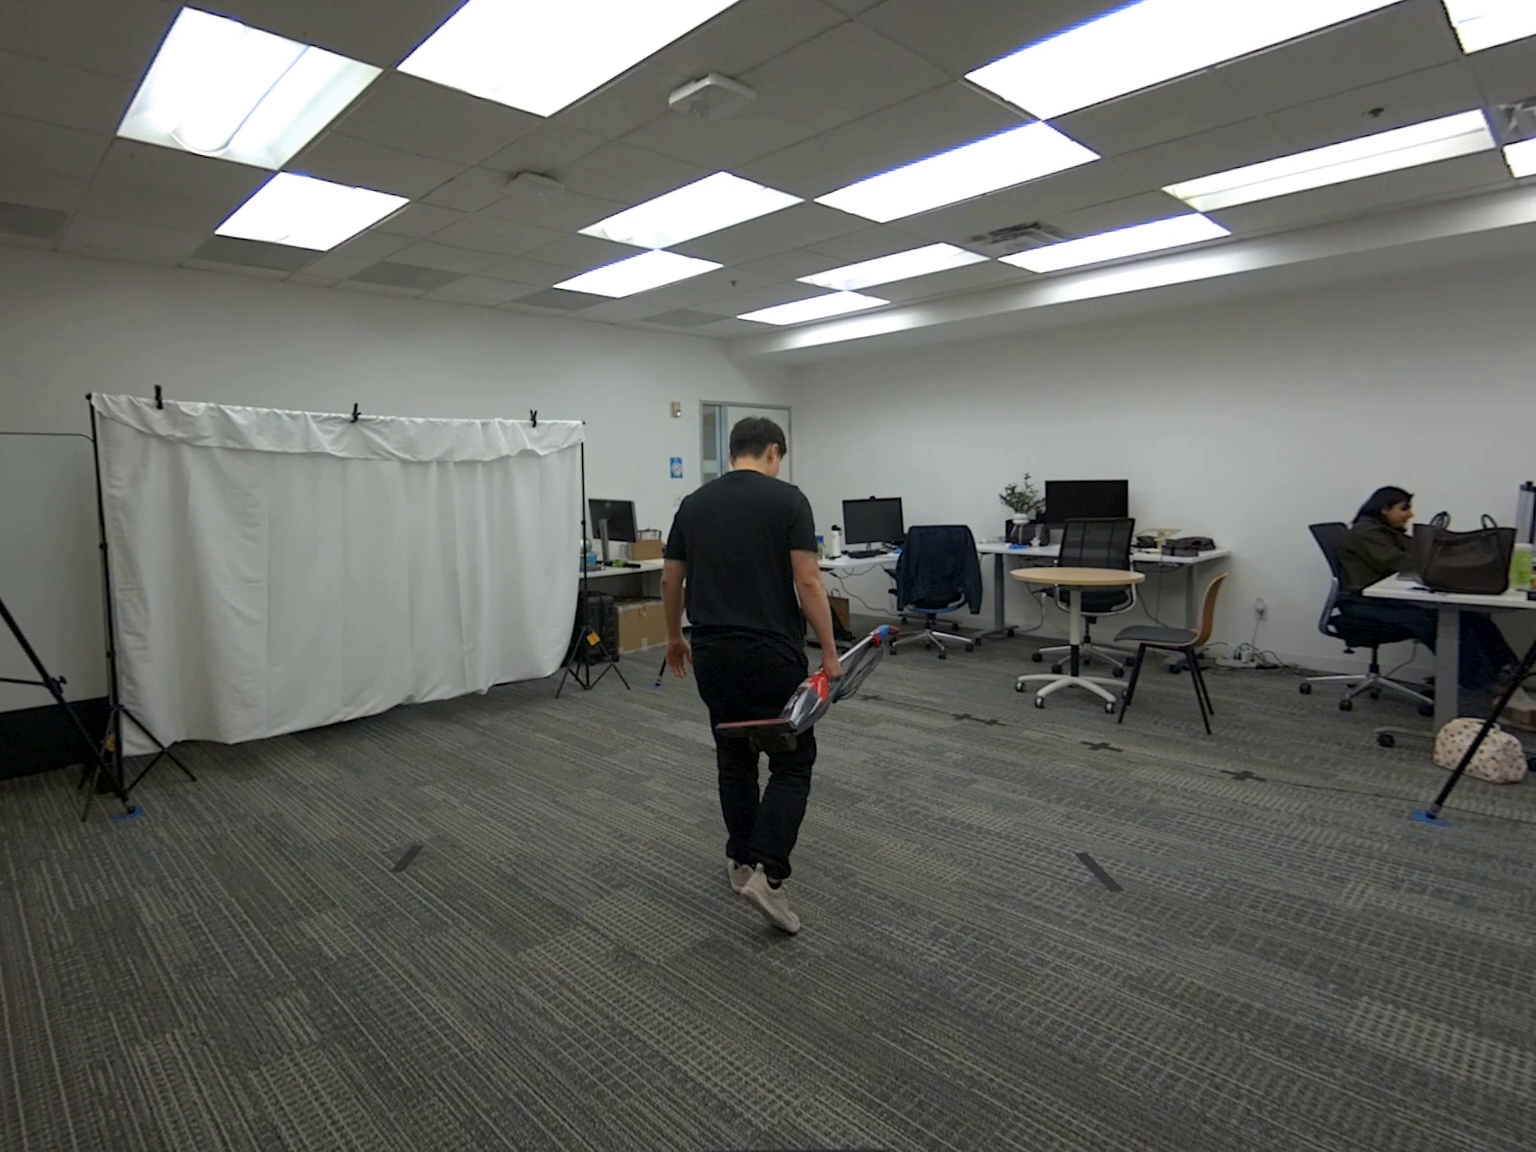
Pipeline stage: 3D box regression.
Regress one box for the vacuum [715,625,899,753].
[{"bbox_3d":[0.250,0.354,2.856,0.258,0.143,1.032,-7,10,33],"label":"vacuum"}]
